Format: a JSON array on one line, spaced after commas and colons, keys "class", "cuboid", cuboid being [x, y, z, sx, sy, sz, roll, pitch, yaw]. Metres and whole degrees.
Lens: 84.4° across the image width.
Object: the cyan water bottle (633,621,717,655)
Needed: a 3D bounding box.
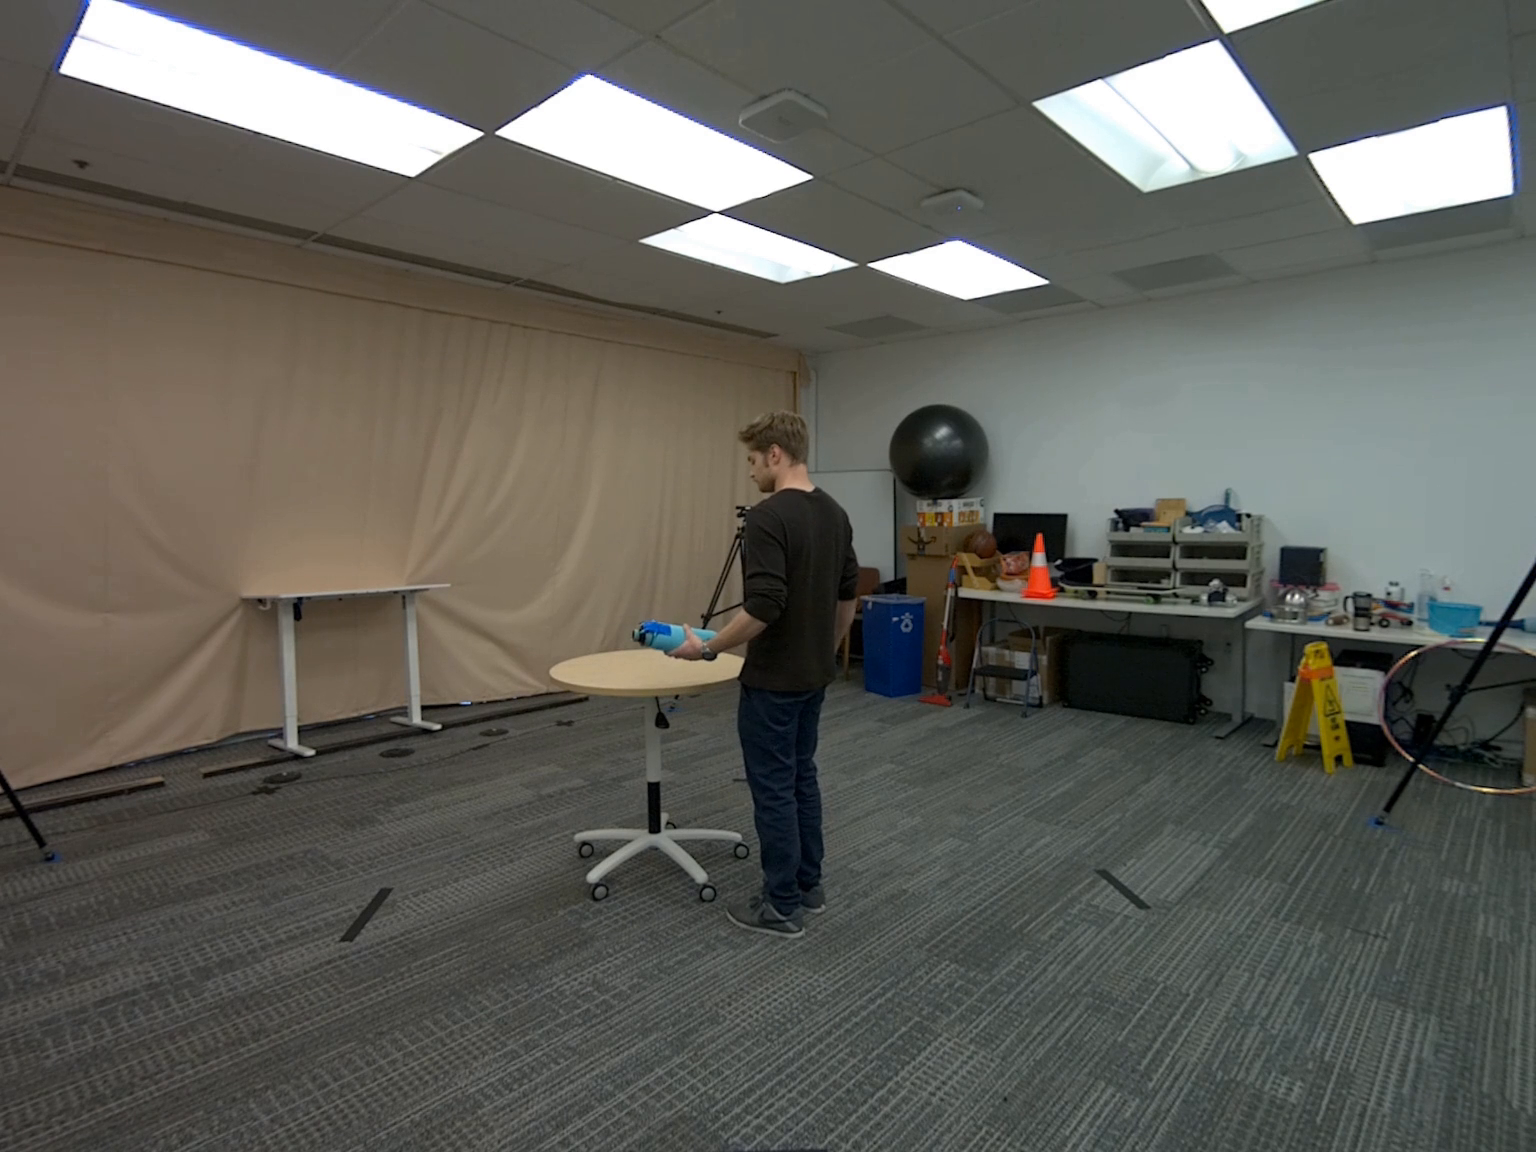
[{"class": "cyan water bottle", "cuboid": [-0.298, 0.197, 2.768, 0.277, 0.092, 0.094, 12, -1, -21]}]
